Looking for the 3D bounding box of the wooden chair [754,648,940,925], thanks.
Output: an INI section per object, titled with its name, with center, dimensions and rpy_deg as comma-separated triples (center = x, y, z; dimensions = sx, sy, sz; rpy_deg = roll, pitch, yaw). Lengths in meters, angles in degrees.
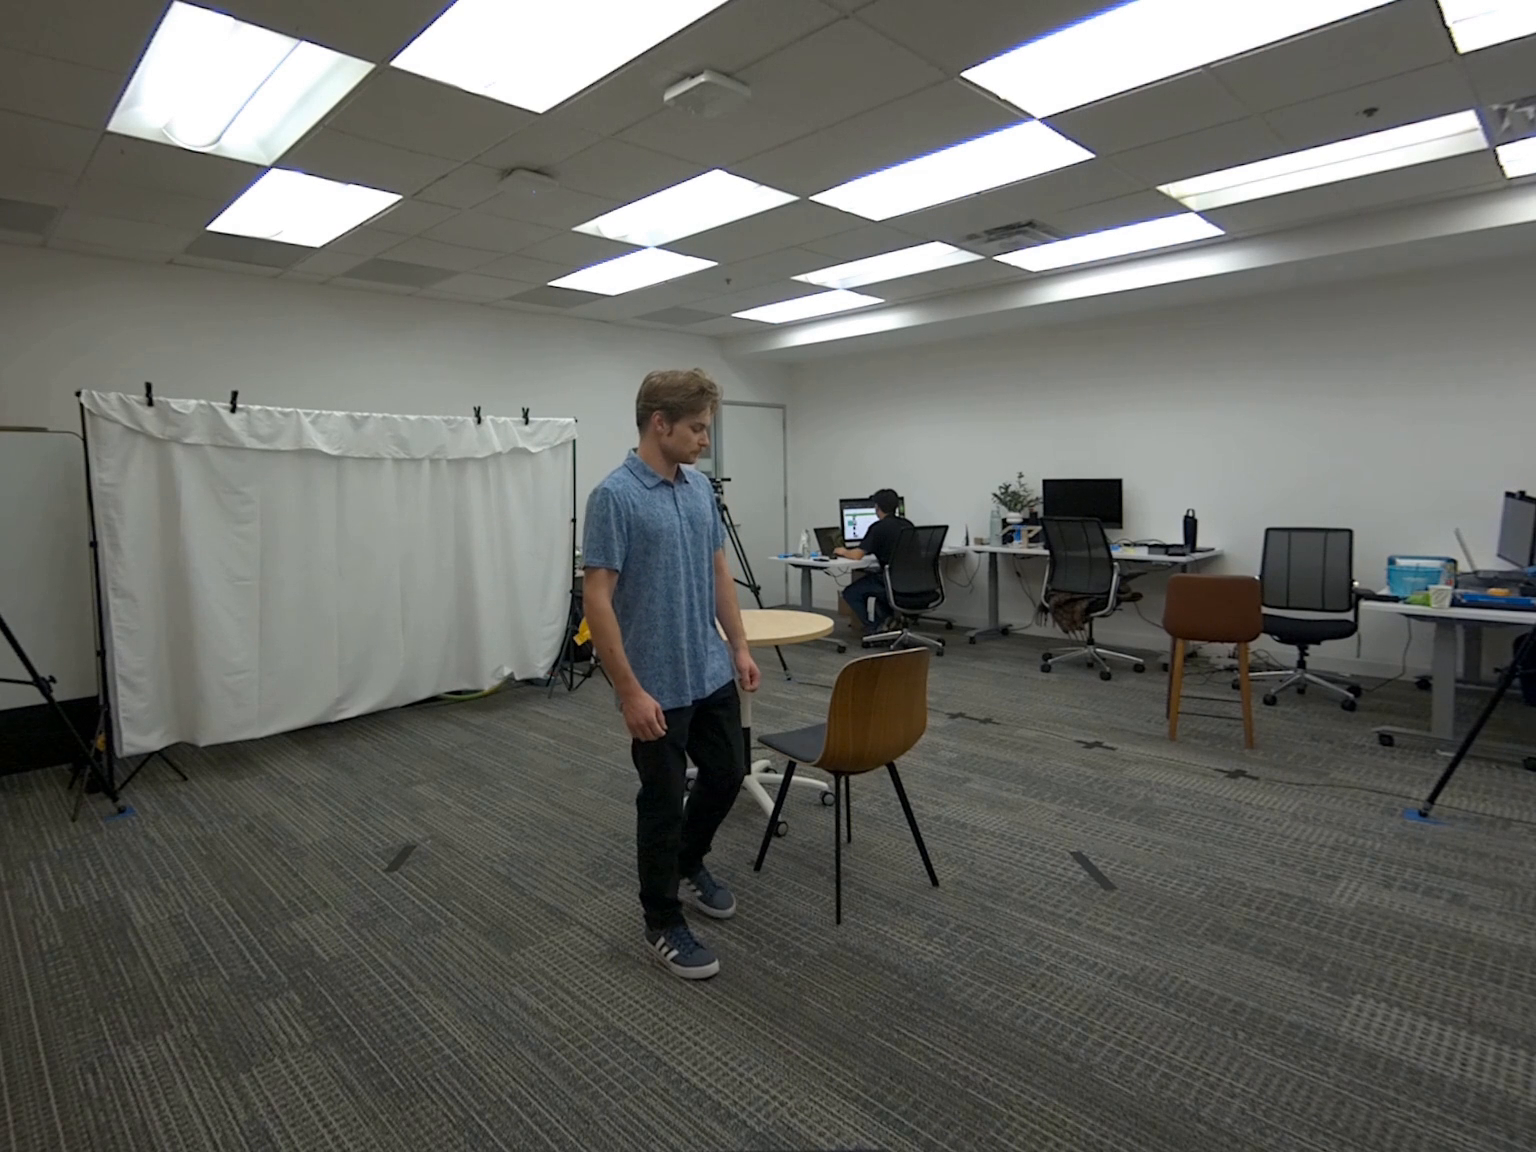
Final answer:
[wooden chair]
center = 0.256, 0.627, 2.944
dimensions = 0.466, 0.871, 0.540
rpy_deg = -5, 10, -35
